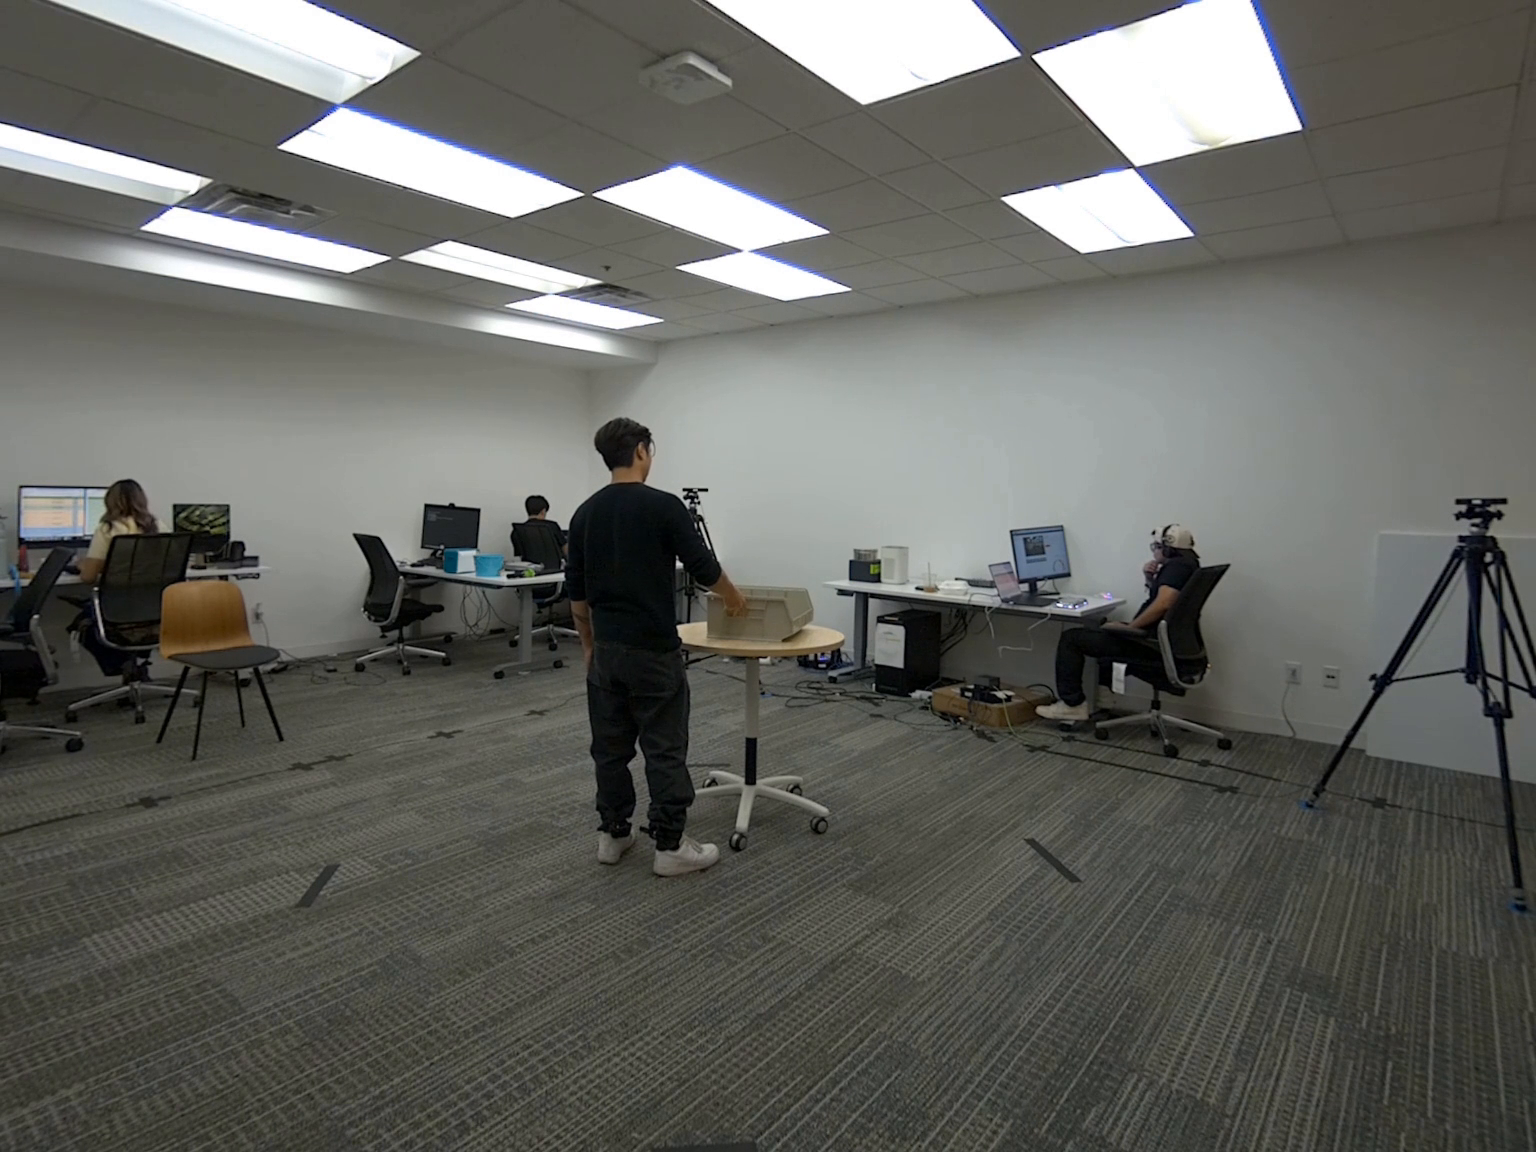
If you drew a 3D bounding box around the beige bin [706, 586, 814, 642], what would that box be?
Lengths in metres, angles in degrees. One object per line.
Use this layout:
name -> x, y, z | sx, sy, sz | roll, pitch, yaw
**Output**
beige bin -> -0.042, 0.156, 3.617 | 0.384, 0.188, 0.417 | 2, 5, 15
